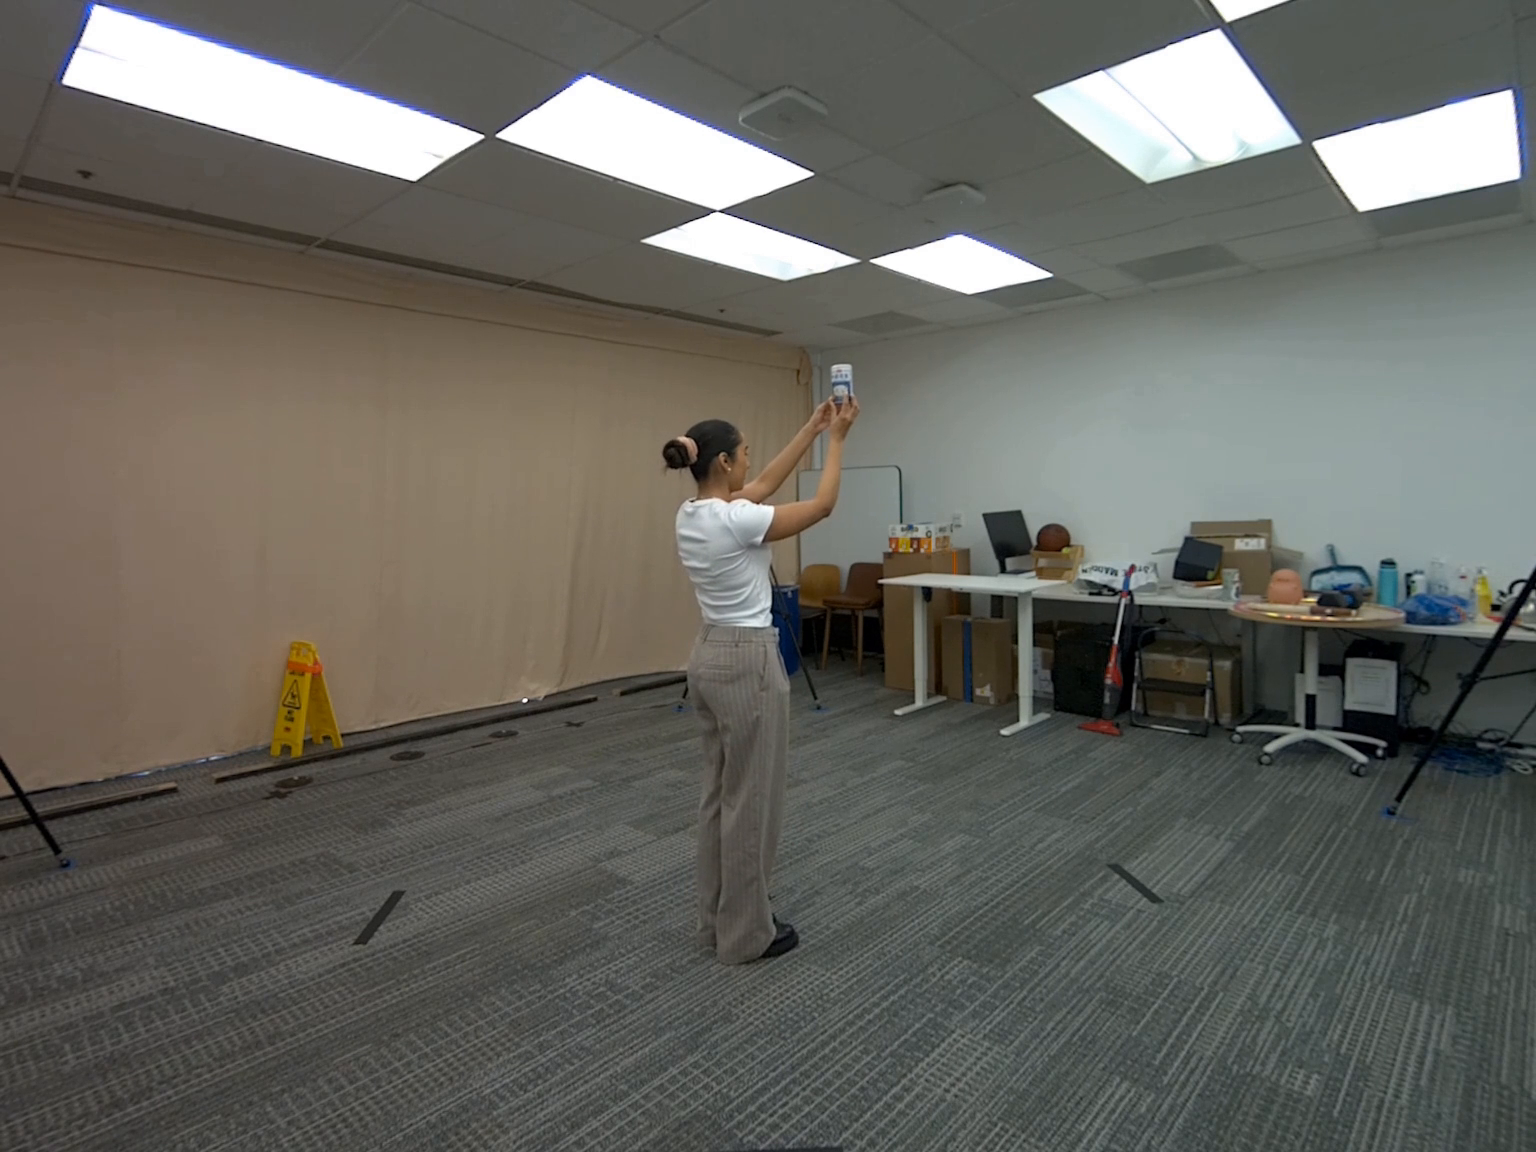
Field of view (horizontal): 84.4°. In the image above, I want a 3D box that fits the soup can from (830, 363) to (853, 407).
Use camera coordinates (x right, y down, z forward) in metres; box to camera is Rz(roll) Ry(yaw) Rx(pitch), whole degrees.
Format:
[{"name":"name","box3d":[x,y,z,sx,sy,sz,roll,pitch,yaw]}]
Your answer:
[{"name":"soup can","box3d":[0.243,-0.611,2.685,0.067,0.121,0.067,-2,3,-2]}]
